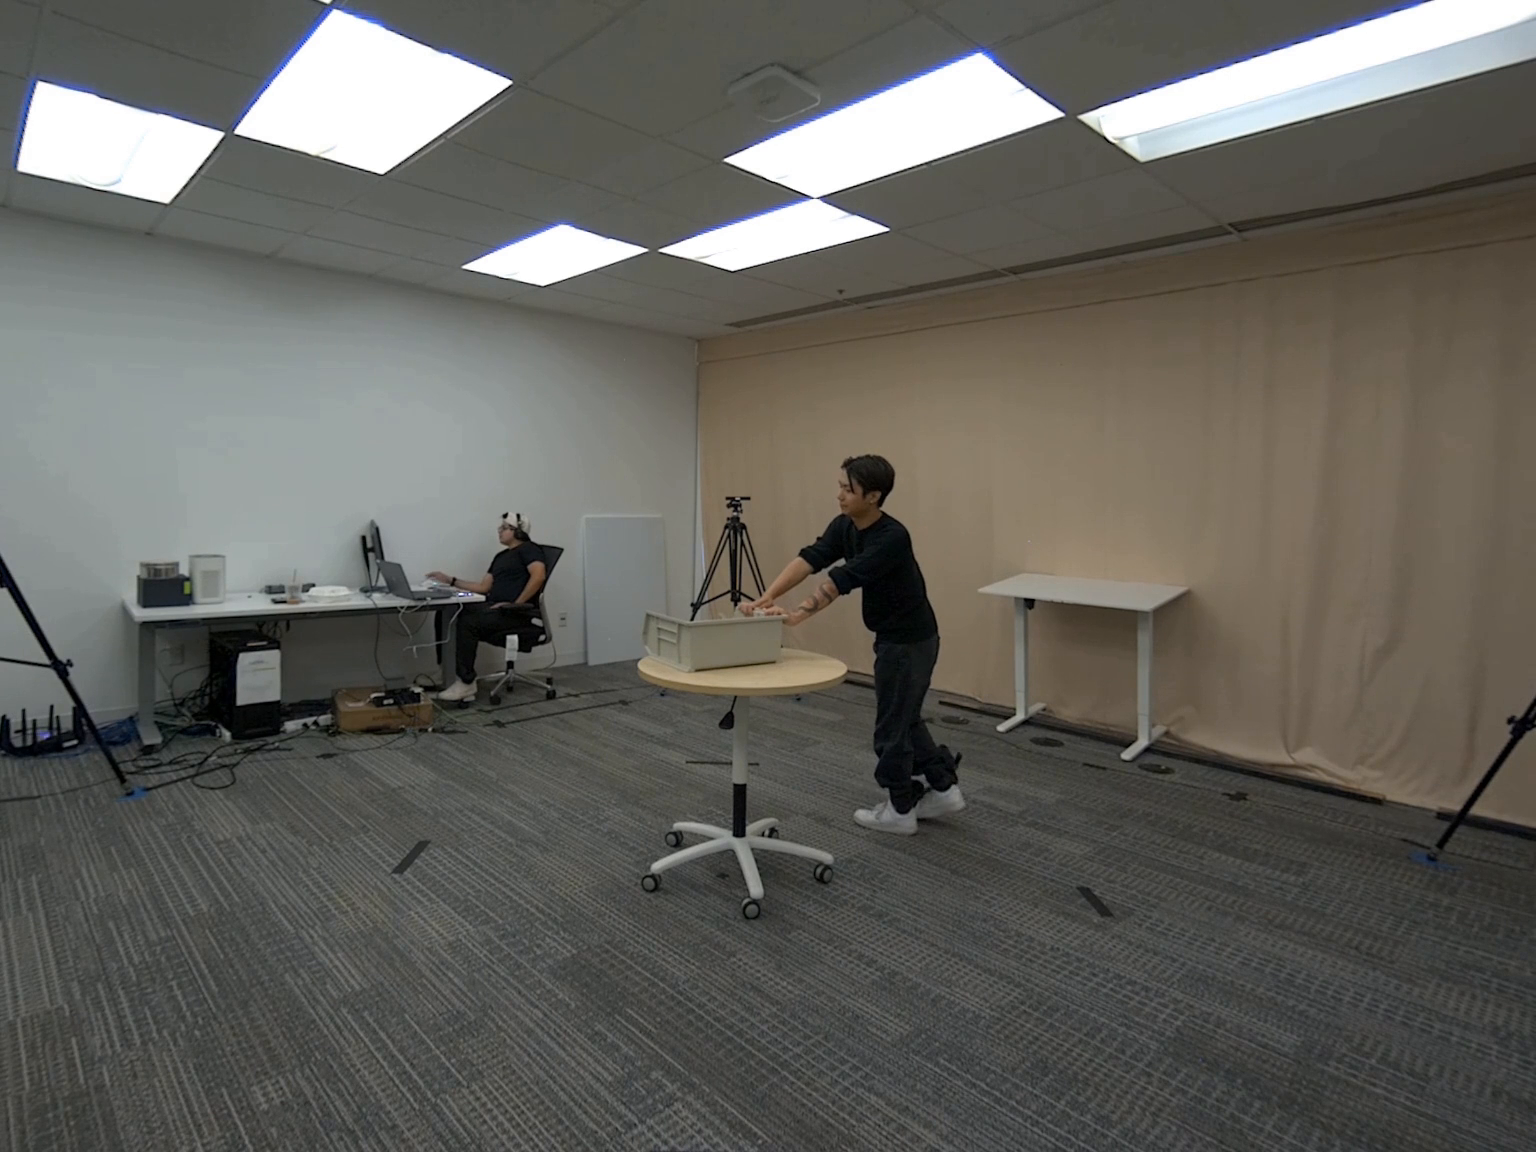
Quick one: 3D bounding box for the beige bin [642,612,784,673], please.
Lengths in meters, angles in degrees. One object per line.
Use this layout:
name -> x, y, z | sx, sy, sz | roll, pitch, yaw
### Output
beige bin -> -0.210, 0.225, 3.173 | 0.413, 0.188, 0.387 | -2, 8, -32
